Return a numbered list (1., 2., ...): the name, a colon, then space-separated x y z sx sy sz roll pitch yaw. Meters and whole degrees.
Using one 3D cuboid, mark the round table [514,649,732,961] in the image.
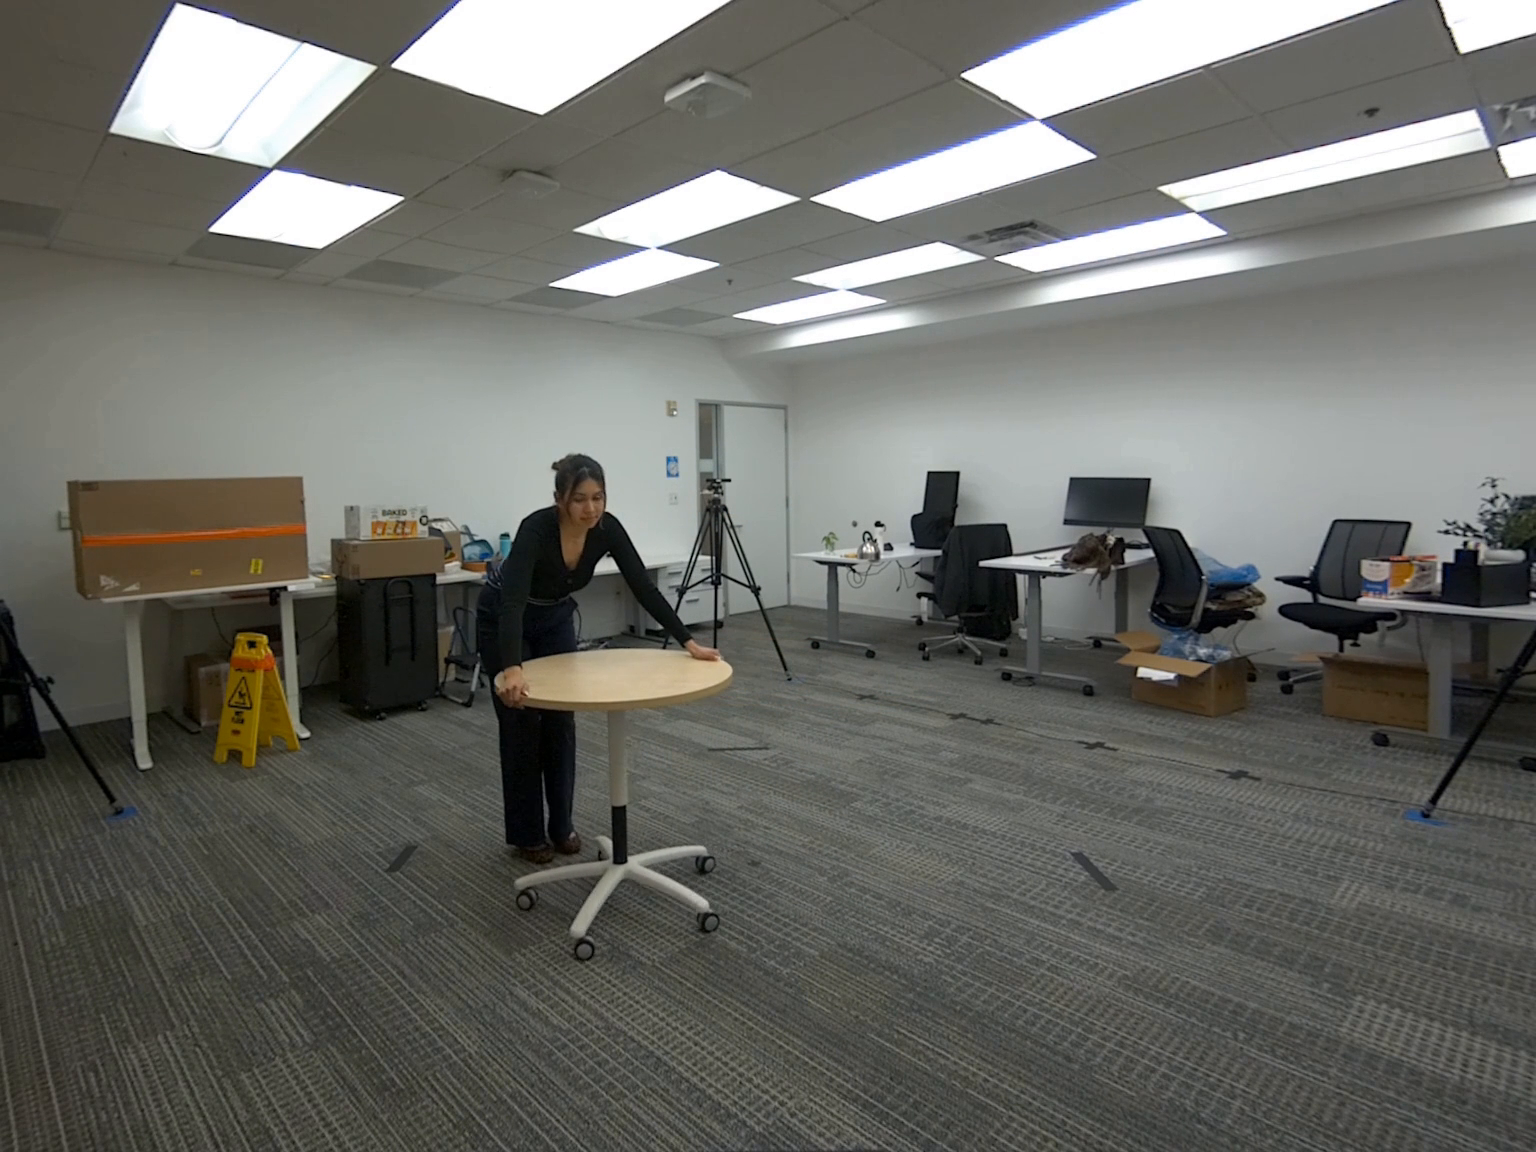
1. round table: -0.477 0.701 2.809 0.763 0.791 0.768 -1 5 -2
